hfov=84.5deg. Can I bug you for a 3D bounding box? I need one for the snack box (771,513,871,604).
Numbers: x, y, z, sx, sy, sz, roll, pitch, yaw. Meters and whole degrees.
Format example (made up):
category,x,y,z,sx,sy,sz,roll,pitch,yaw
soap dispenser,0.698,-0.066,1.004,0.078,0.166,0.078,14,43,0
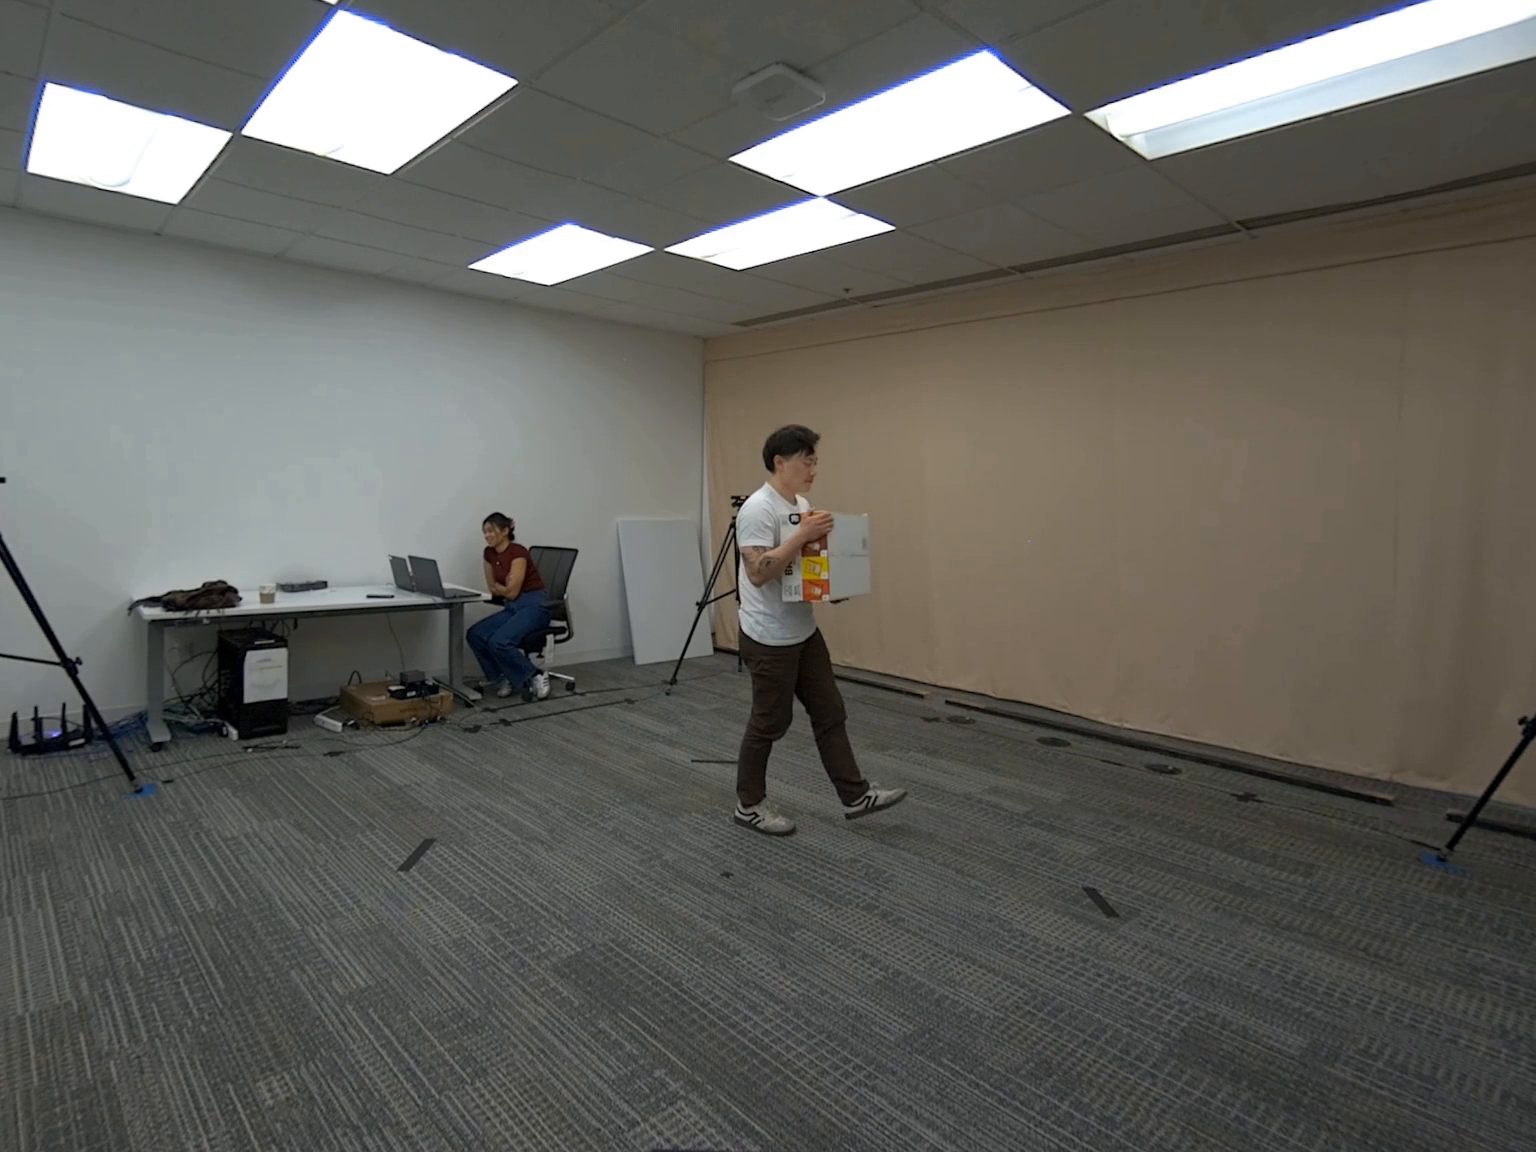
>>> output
category,x,y,z,sx,sy,sz,roll,pitch,yaw
snack box,0.227,-0.083,3.361,0.210,0.340,0.397,-2,1,30
